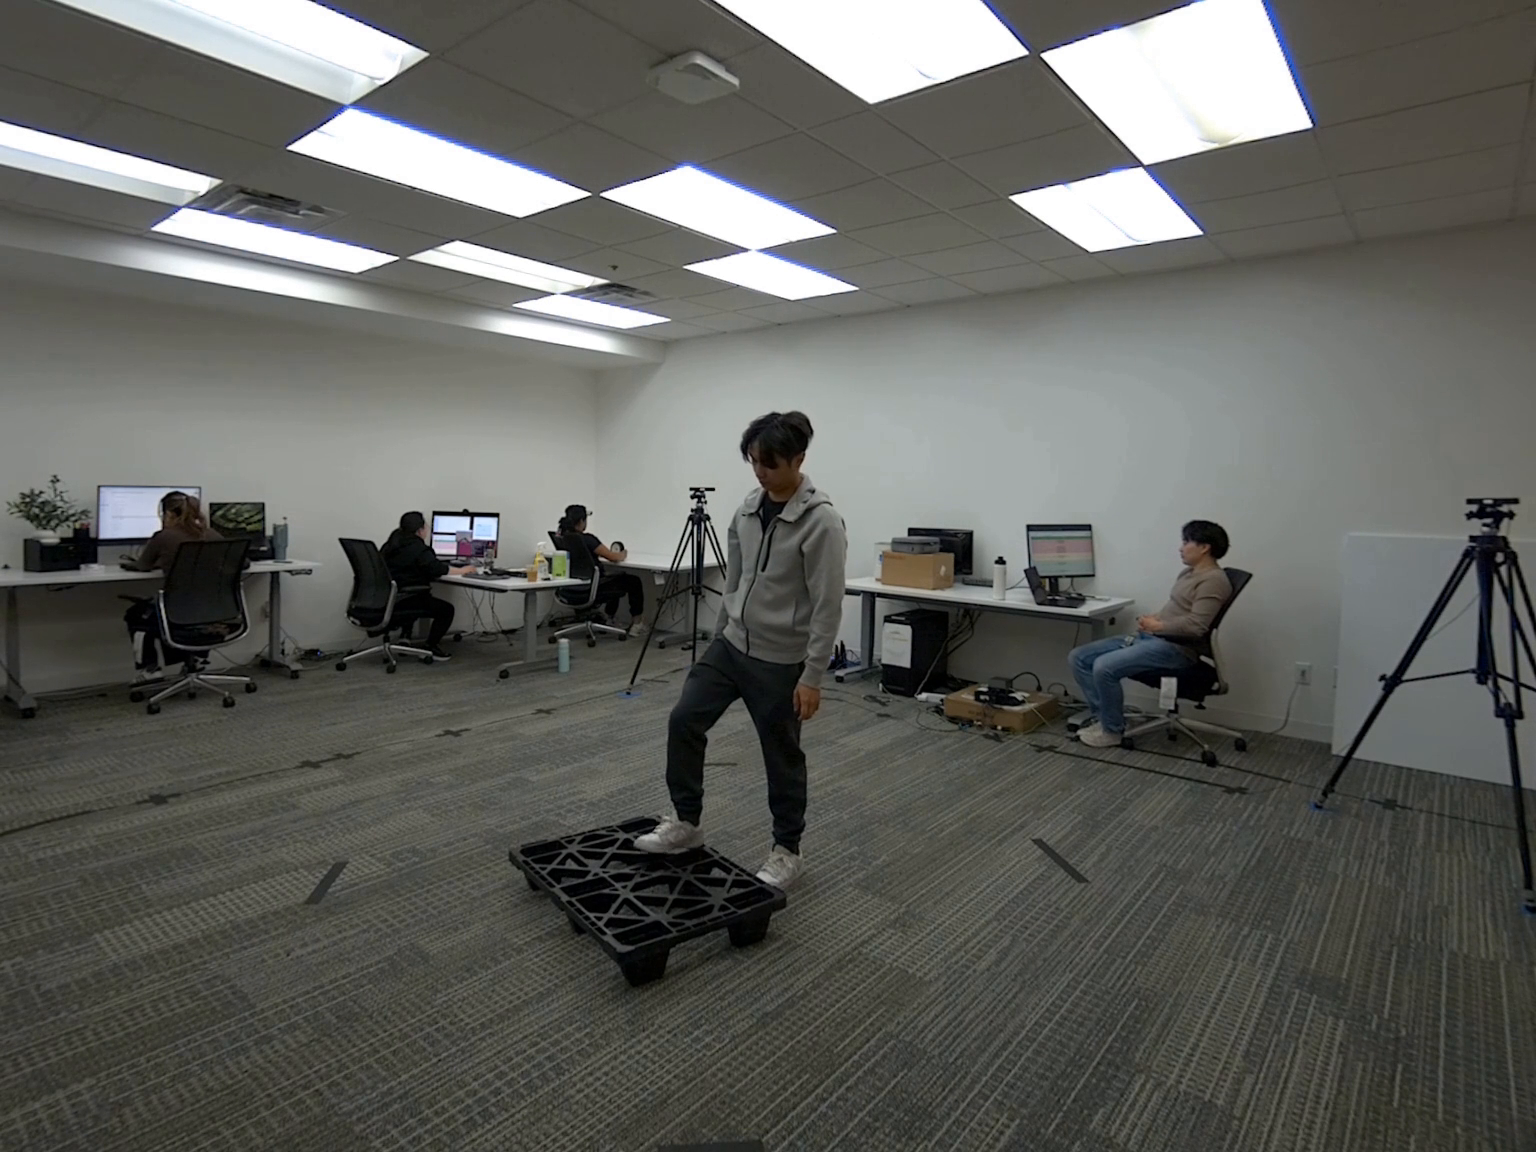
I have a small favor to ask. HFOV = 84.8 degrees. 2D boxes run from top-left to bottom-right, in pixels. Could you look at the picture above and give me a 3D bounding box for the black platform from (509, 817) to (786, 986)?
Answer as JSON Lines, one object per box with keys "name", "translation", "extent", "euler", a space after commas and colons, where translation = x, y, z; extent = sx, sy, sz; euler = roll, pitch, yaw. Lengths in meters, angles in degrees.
{"name": "black platform", "translation": [-0.426, 1.027, 2.791], "extent": [0.587, 0.143, 0.833], "euler": [-2, 7, -37]}
